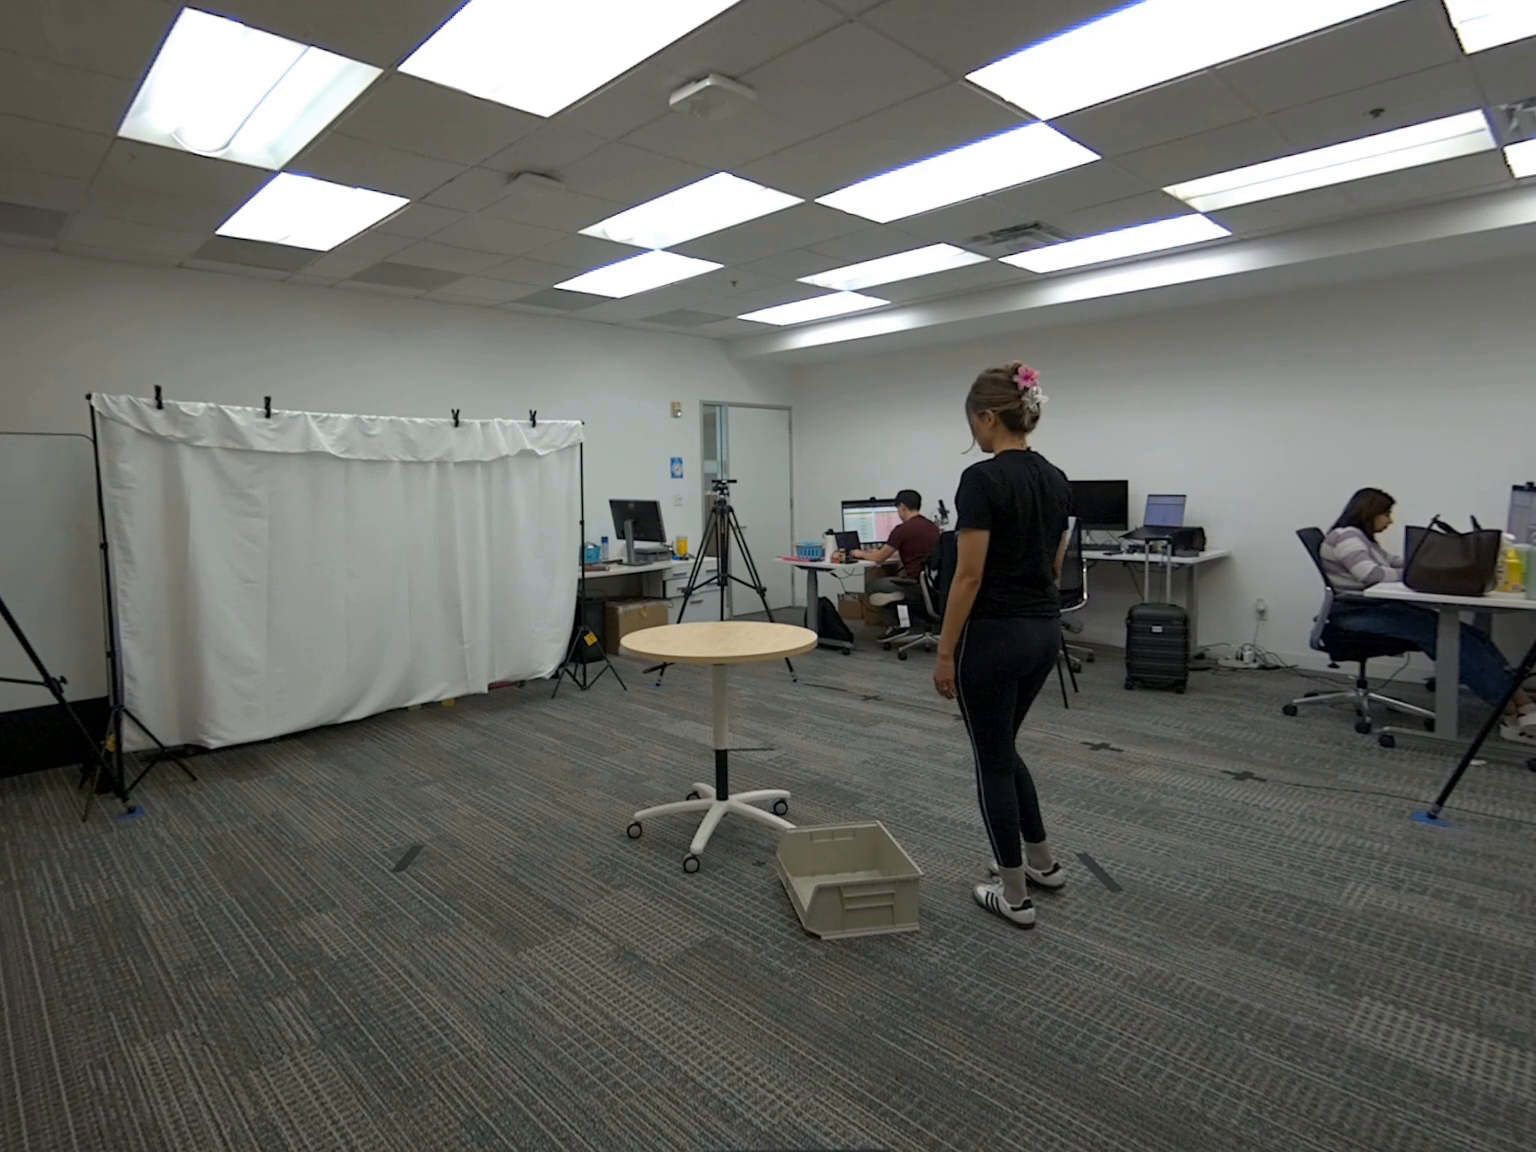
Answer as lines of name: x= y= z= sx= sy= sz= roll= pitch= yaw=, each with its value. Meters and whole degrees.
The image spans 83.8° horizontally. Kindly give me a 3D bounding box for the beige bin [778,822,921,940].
beige bin: x=0.259 y=0.994 z=2.800 sx=0.374 sy=0.188 sz=0.428 roll=-2 pitch=6 yaw=-11
